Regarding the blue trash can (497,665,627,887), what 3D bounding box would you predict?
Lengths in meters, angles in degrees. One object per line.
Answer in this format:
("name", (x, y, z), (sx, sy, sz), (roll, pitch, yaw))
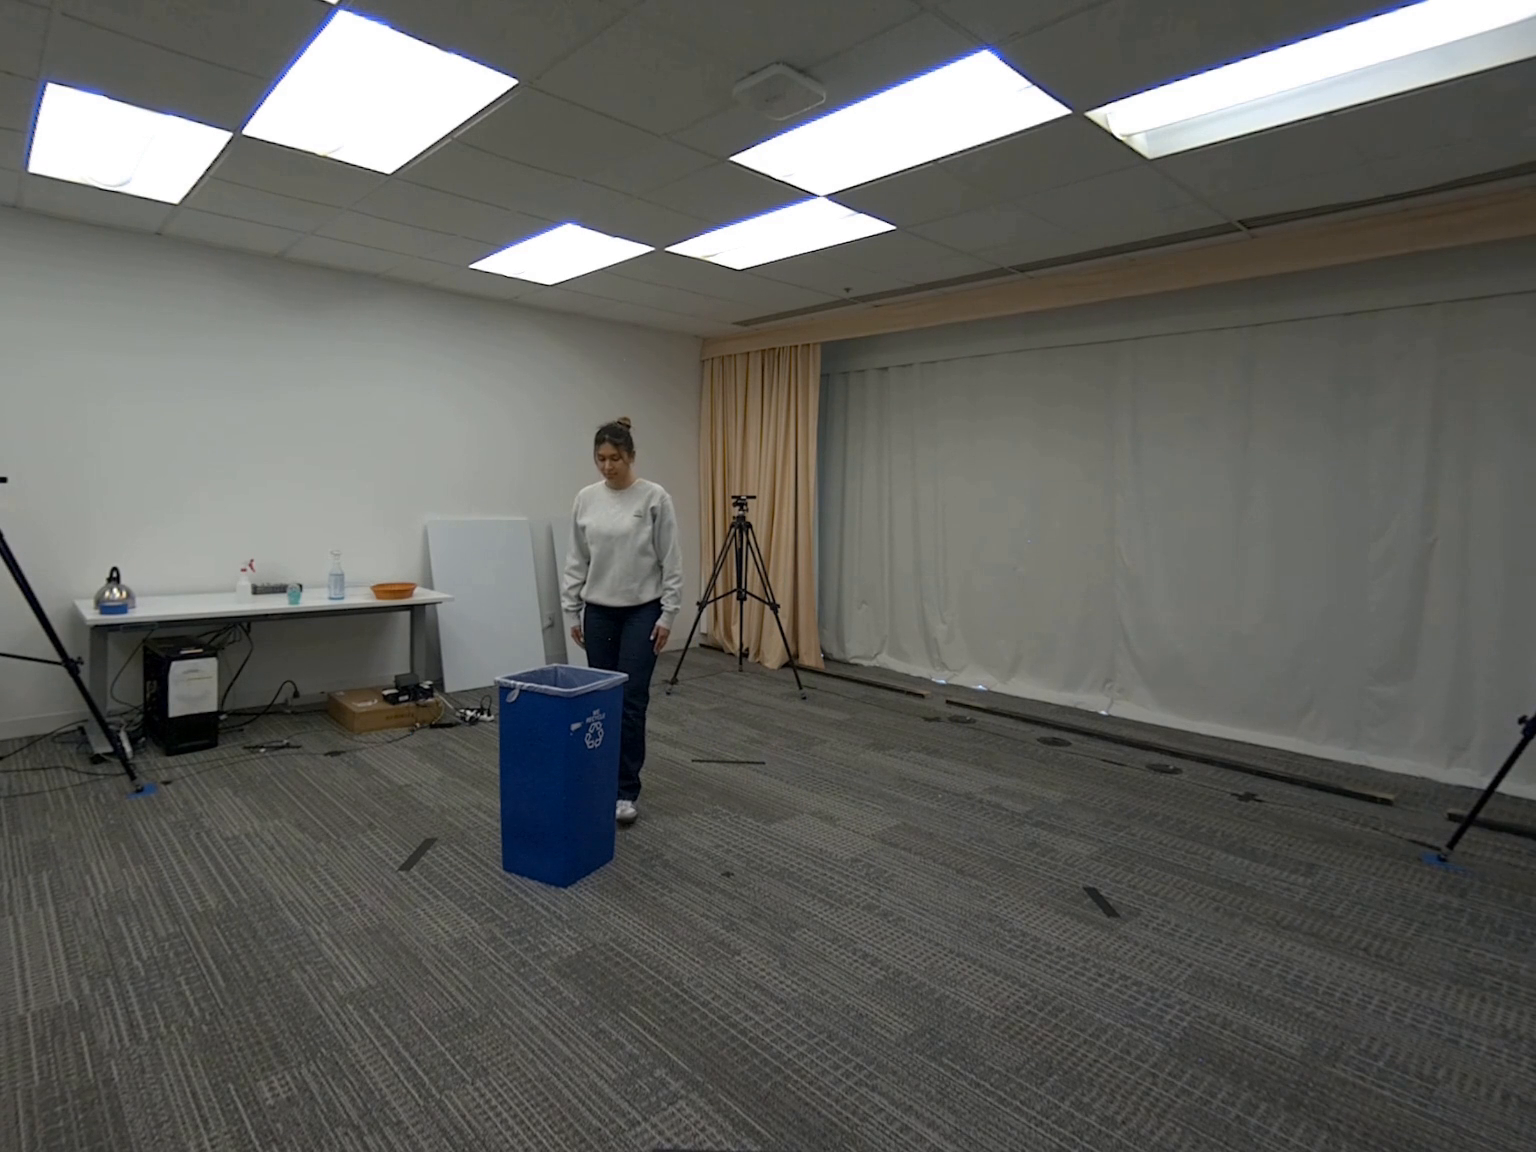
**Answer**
("blue trash can", (-0.784, 0.727, 3.150), (0.386, 0.712, 0.367), (4, 4, 27))
